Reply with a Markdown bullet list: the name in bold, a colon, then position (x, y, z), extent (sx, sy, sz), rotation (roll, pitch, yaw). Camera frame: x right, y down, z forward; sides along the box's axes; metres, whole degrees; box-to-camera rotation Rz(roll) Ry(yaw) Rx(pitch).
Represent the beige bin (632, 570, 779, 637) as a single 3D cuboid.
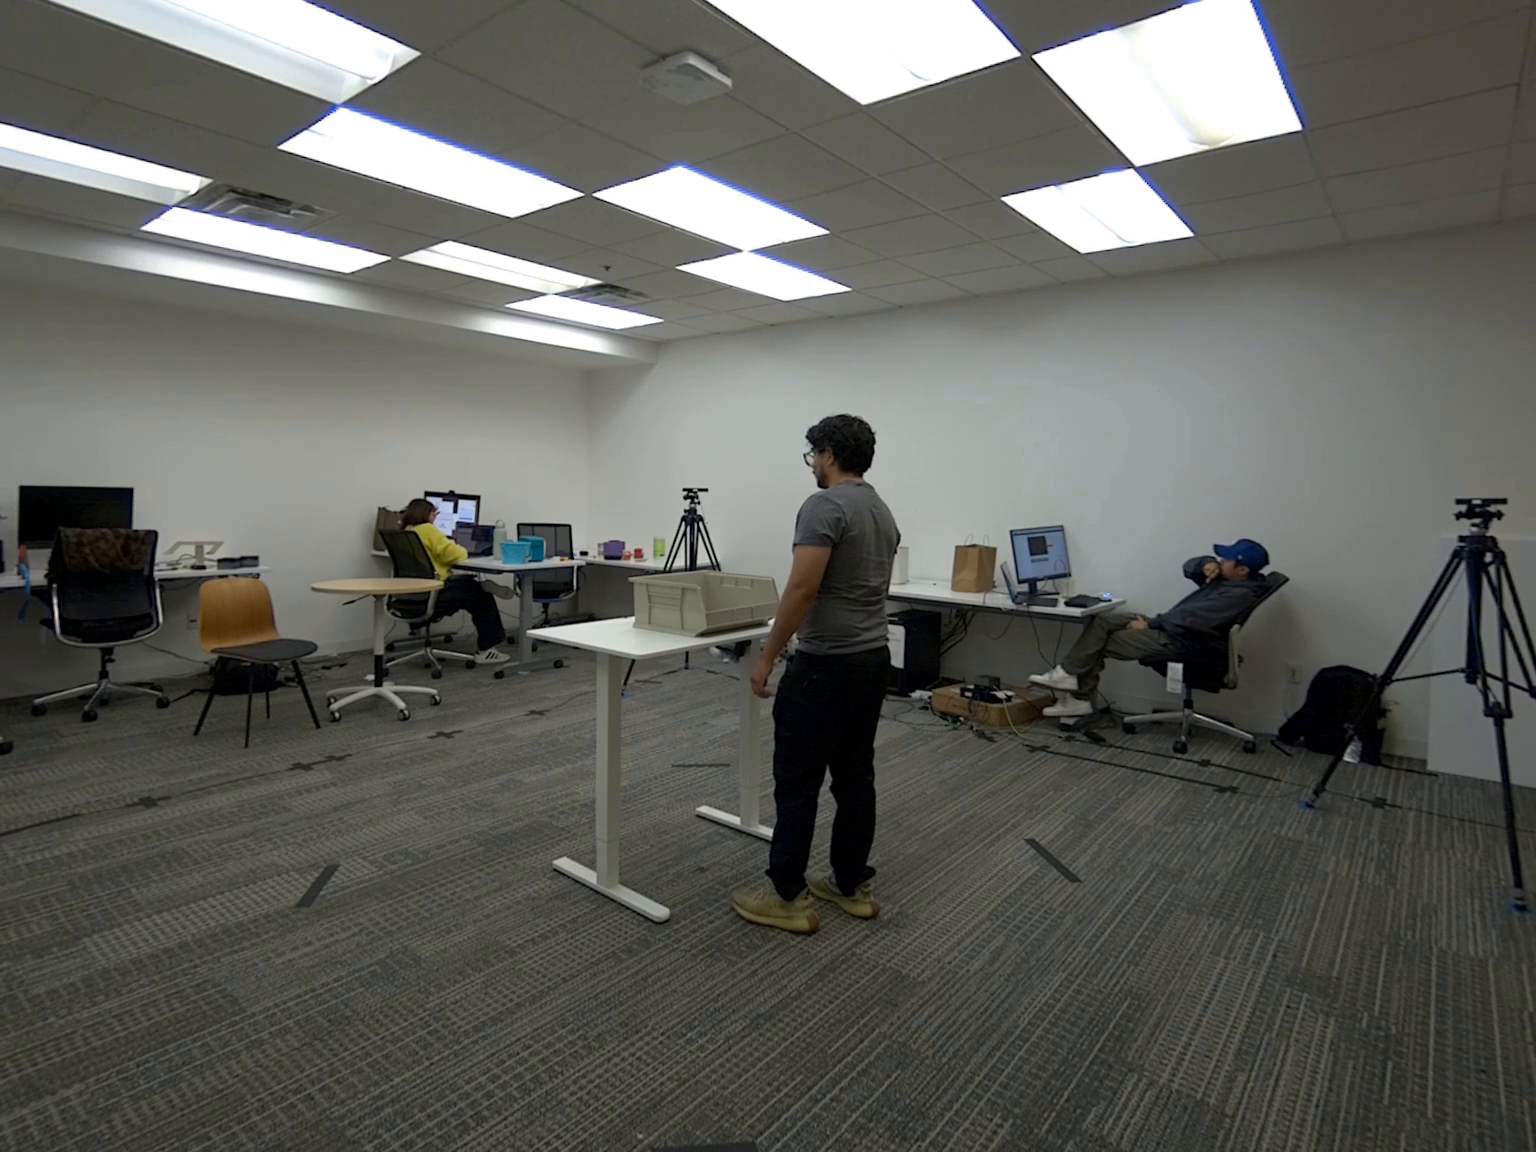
- **beige bin**: position (-0.238, 0.095, 3.130), extent (0.390, 0.188, 0.410), rotation (3, 6, 40)
